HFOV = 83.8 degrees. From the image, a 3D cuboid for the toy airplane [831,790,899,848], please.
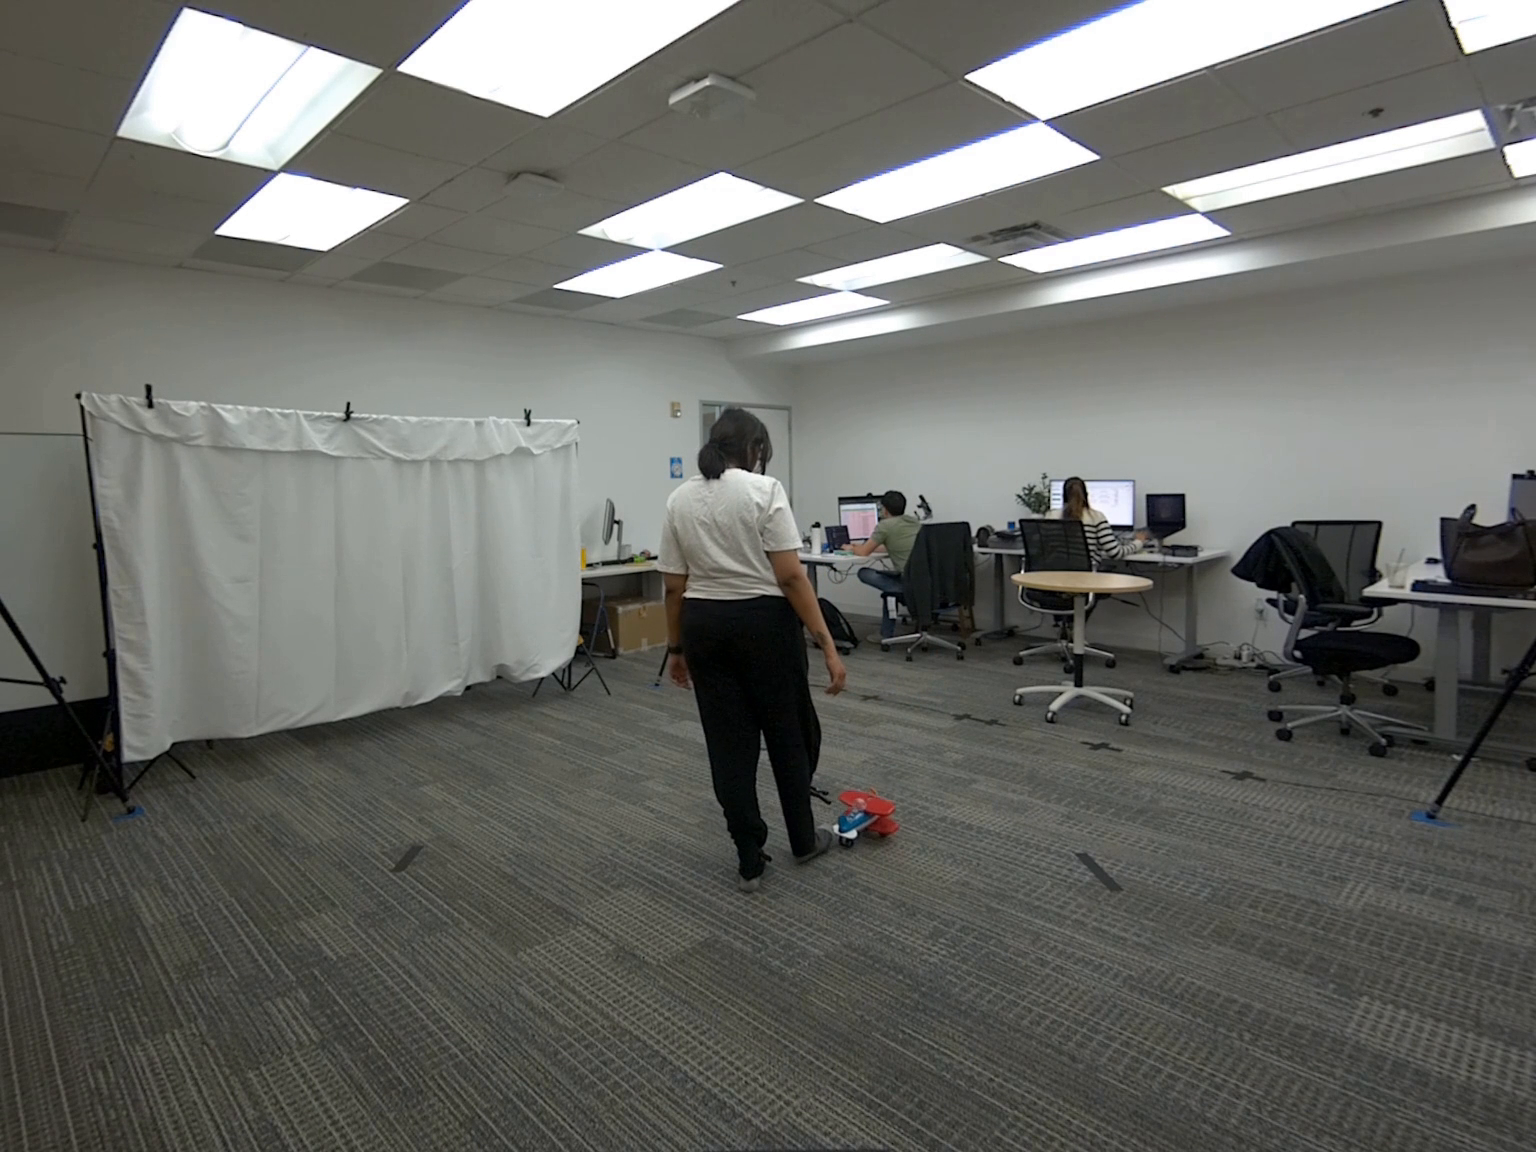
[{"bbox_3d":[0.381,0.942,3.294,0.256,0.156,0.255,1,4,21],"label":"toy airplane"}]
